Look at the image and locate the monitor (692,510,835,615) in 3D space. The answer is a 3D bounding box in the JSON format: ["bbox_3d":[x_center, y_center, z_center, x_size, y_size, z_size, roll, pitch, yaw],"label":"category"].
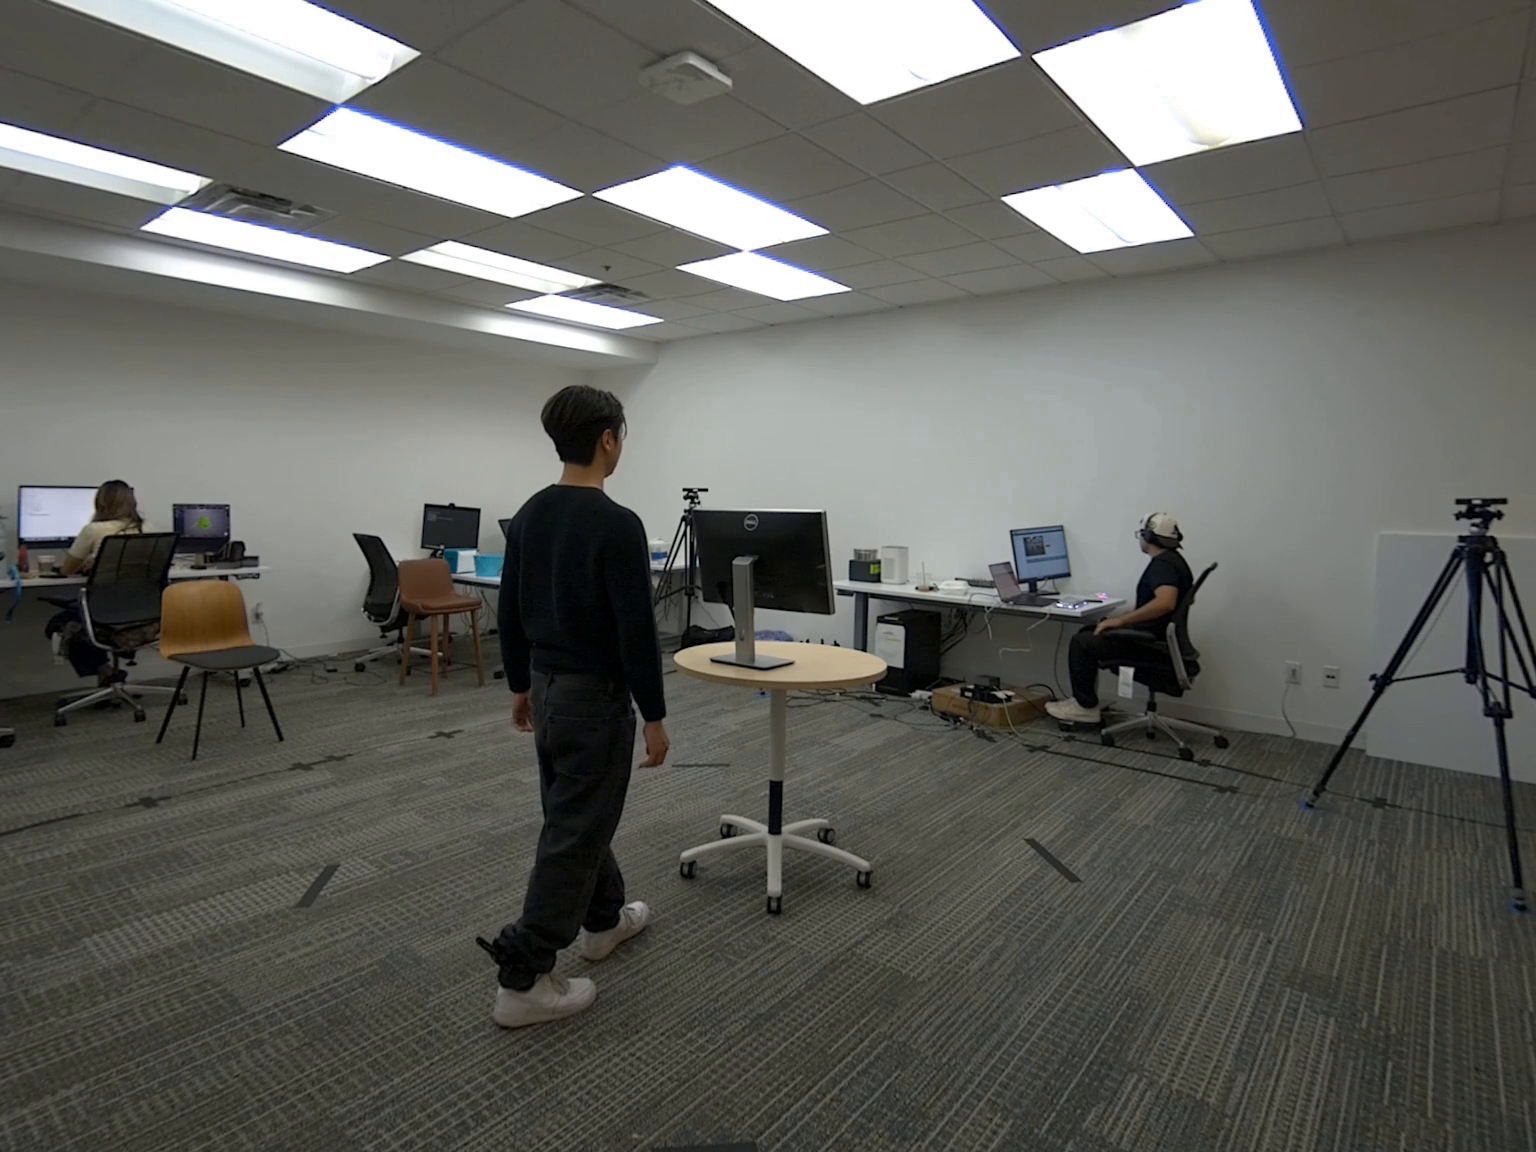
[{"bbox_3d":[-0.060,0.036,2.994,0.556,0.522,0.181,4,2,33],"label":"monitor"}]
